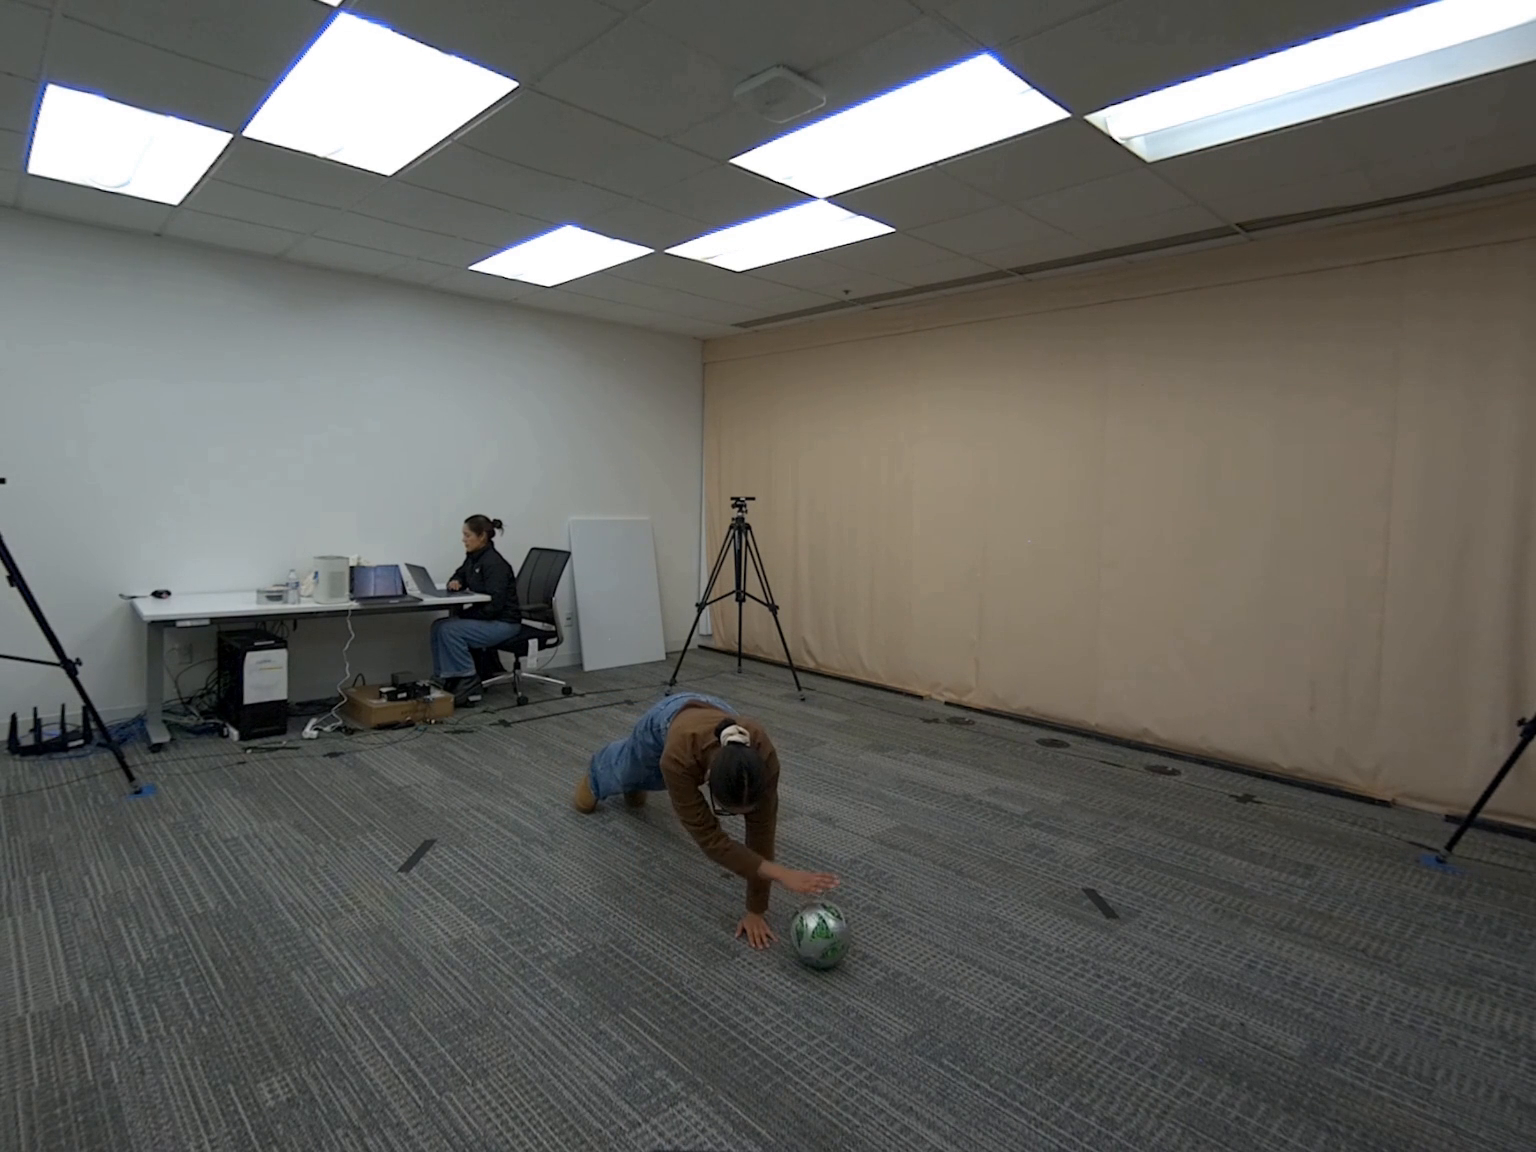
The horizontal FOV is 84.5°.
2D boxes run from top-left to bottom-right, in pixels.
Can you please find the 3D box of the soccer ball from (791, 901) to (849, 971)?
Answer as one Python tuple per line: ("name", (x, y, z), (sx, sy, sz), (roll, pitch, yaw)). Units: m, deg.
("soccer ball", (0.143, 1.078, 2.524), (0.187, 0.187, 0.188), (1, 4, -1))
